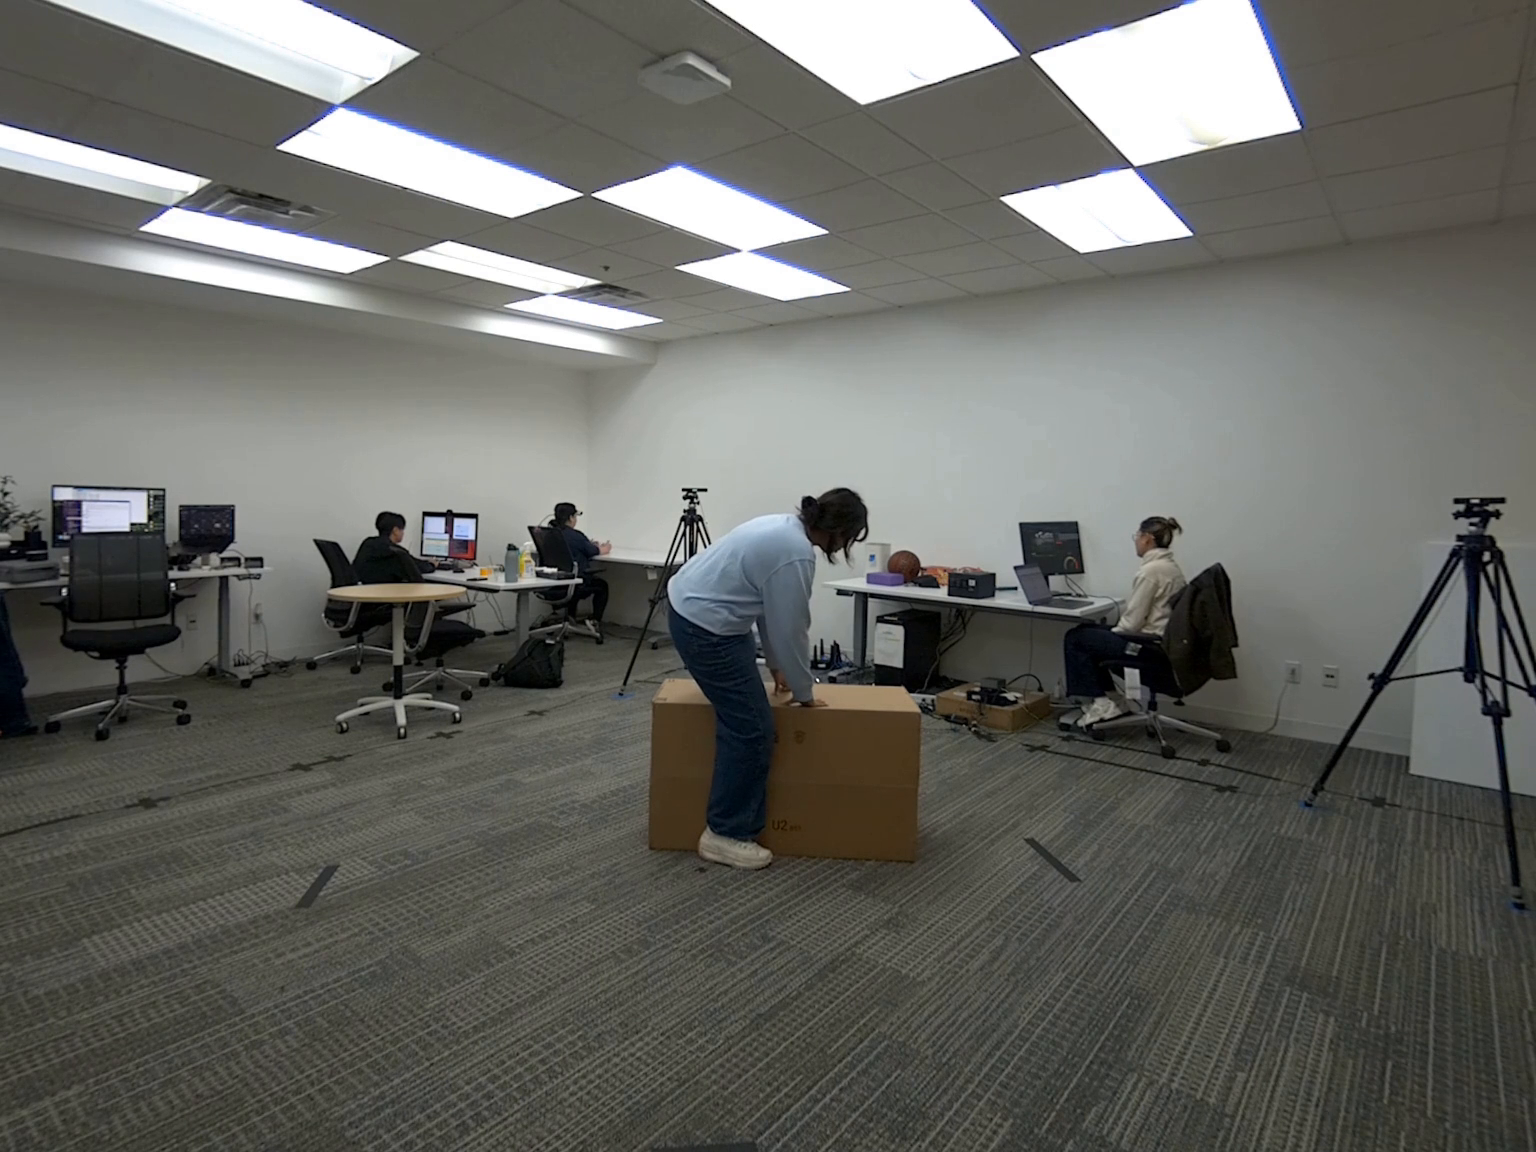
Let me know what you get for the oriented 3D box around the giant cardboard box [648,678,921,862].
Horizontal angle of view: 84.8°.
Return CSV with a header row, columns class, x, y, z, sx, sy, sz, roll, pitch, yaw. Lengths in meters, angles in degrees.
class,x,y,z,sx,sy,sz,roll,pitch,yaw
giant cardboard box,0.053,0.760,3.442,1.029,0.576,0.426,1,3,3
